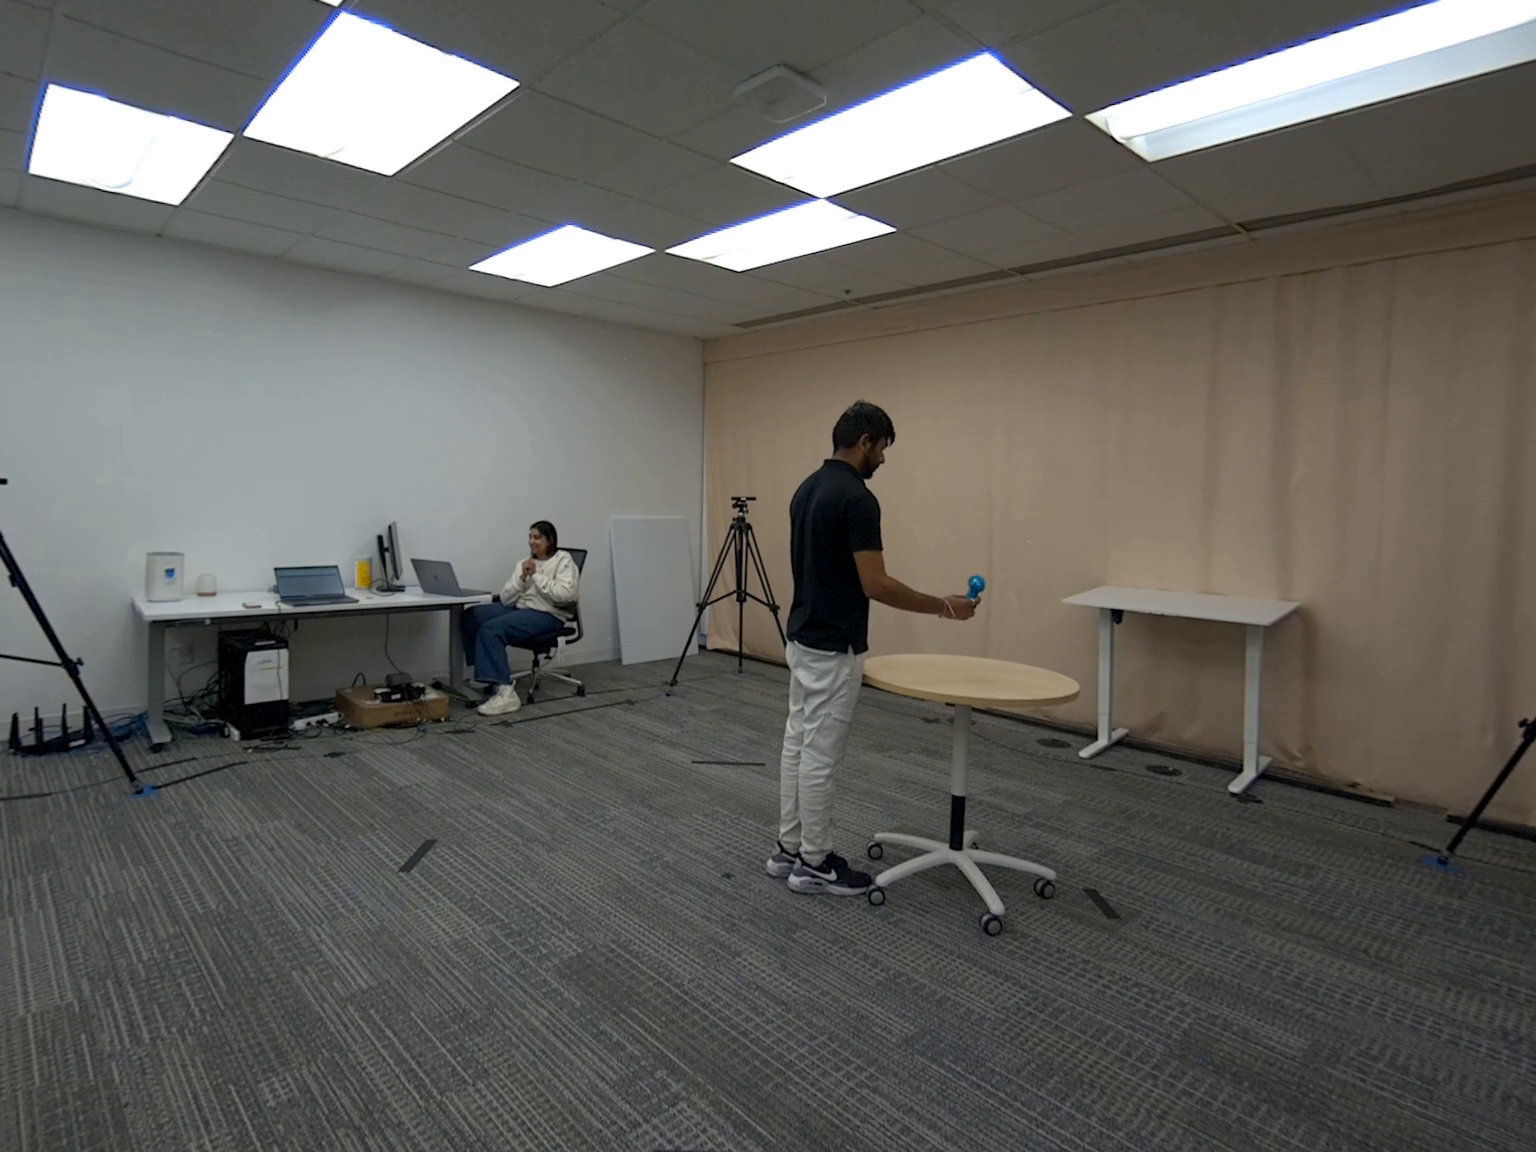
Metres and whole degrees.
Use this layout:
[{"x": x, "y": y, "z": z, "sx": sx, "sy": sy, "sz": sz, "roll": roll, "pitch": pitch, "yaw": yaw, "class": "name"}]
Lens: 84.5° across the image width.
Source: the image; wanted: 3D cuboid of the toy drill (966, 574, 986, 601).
[{"x": 0.722, "y": 0.066, "z": 2.987, "sx": 0.061, "sy": 0.145, "sz": 0.169, "roll": 25, "pitch": 16, "yaw": 5, "class": "toy drill"}]
